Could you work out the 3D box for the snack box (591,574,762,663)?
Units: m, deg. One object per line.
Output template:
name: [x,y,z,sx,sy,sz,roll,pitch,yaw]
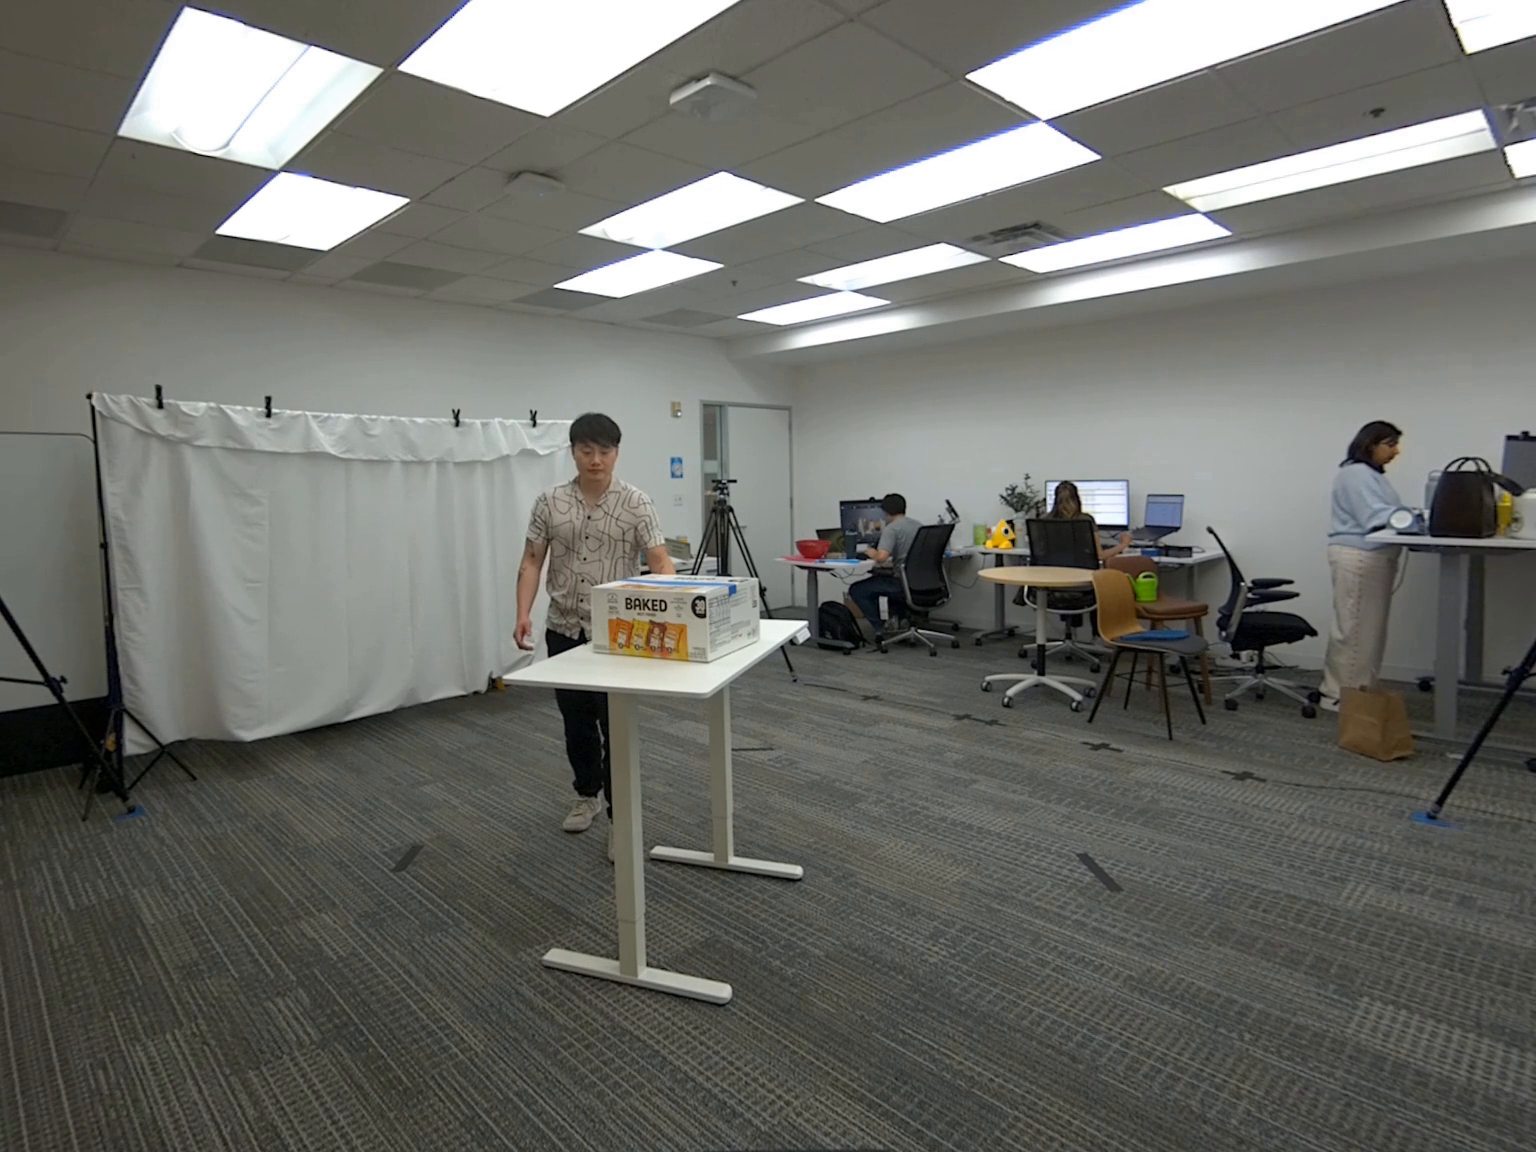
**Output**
snack box: [-0.281,0.121,2.650,0.415,0.204,0.334,2,7,27]
